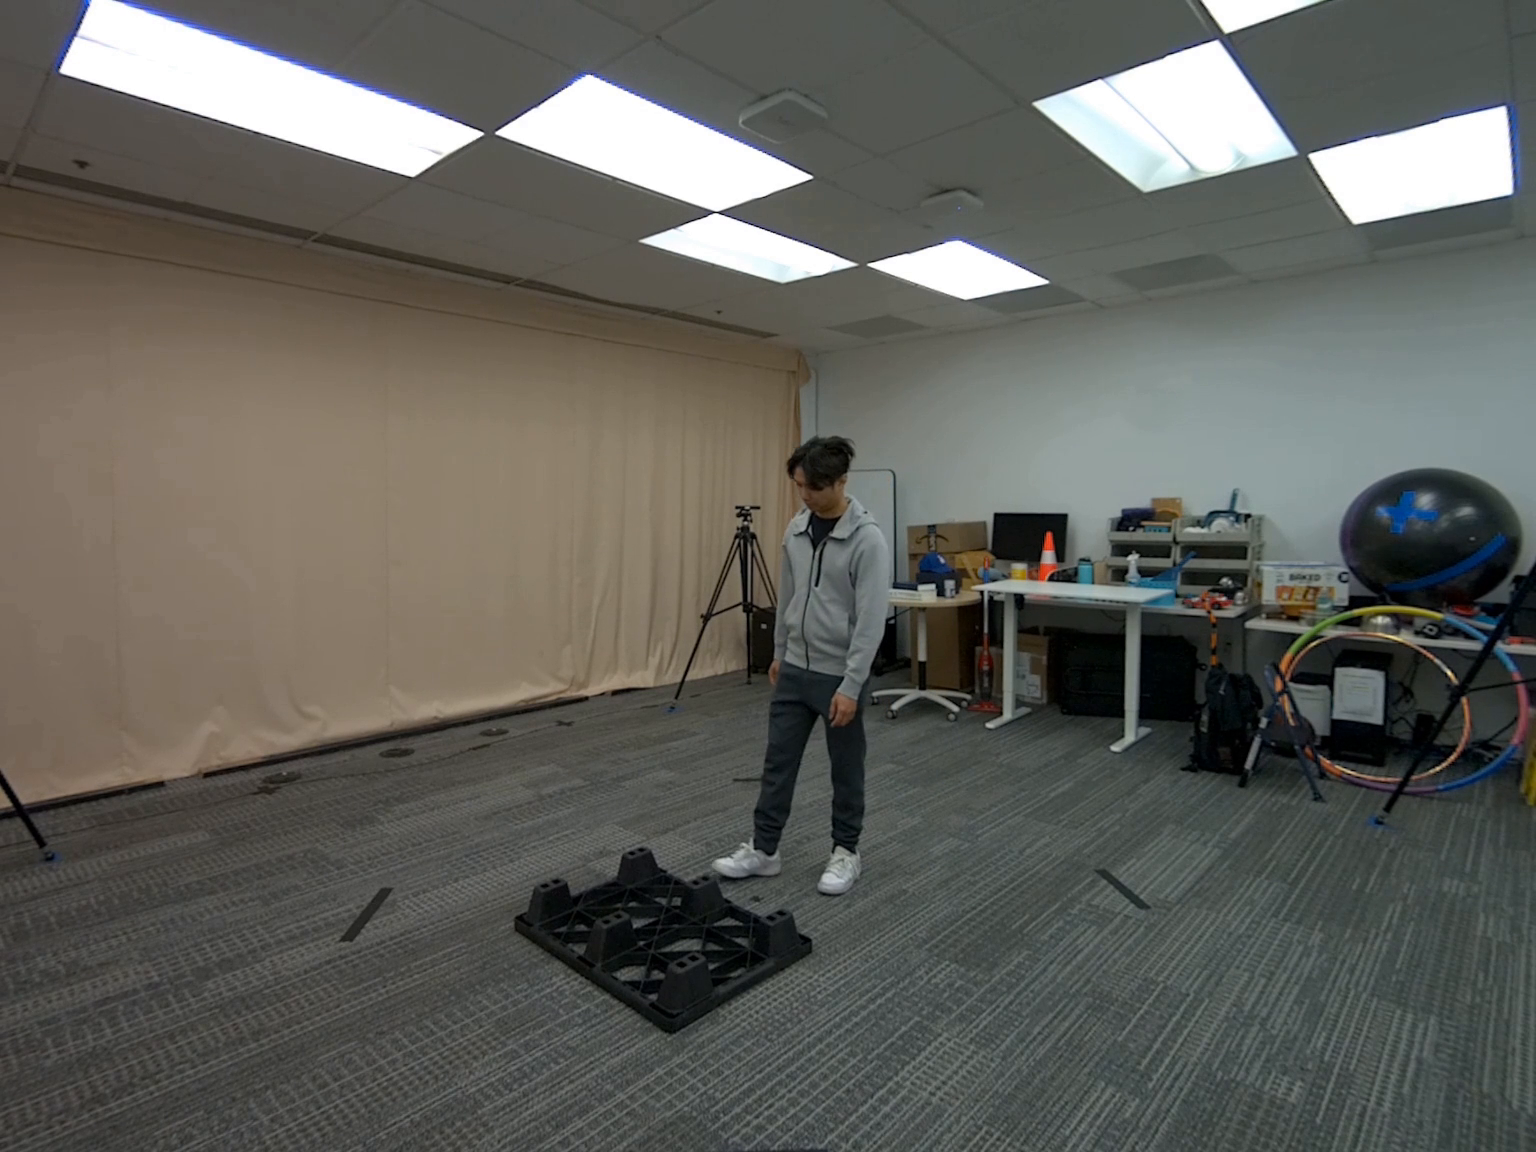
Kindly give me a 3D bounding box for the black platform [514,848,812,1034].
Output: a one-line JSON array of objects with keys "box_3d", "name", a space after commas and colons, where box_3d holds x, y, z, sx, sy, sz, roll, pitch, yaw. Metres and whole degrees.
[{"box_3d": [-0.343, 1.104, 2.699, 0.833, 0.143, 0.587, 4, 7, 44], "name": "black platform"}]
